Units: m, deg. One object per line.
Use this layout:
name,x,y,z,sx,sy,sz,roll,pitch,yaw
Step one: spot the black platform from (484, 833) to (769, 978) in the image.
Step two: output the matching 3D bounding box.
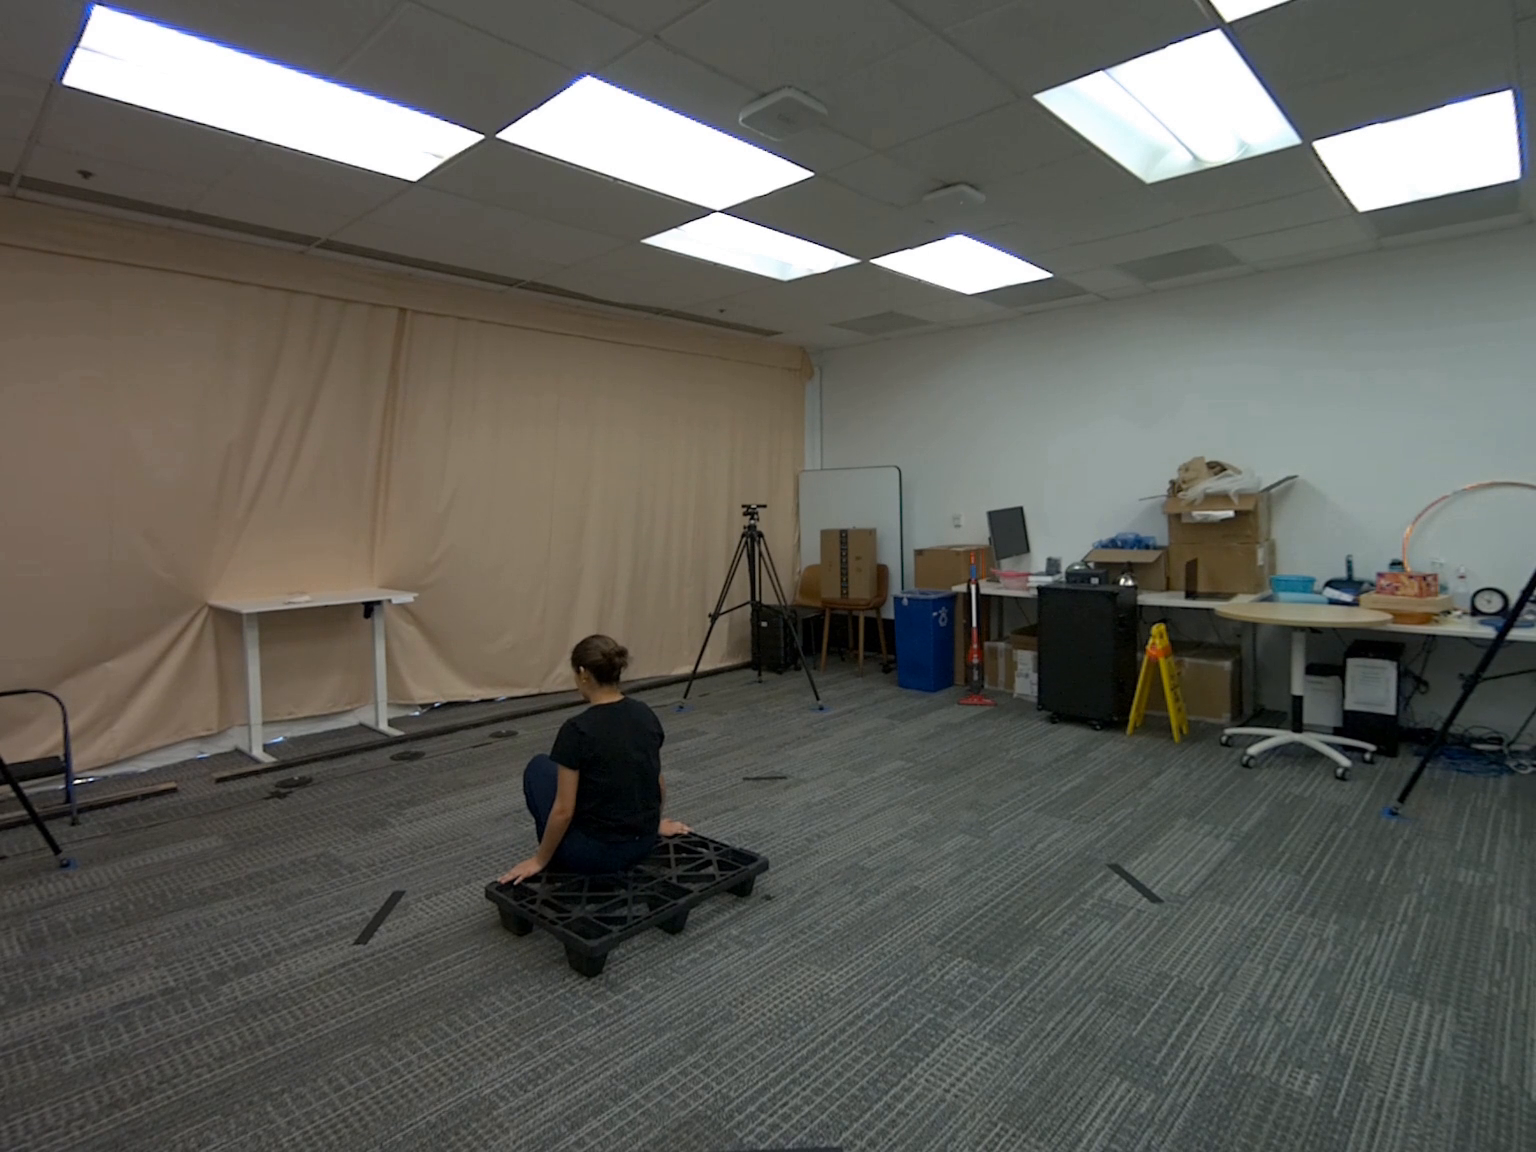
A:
black platform,-0.448,1.088,2.907,0.625,0.143,0.781,4,7,42
